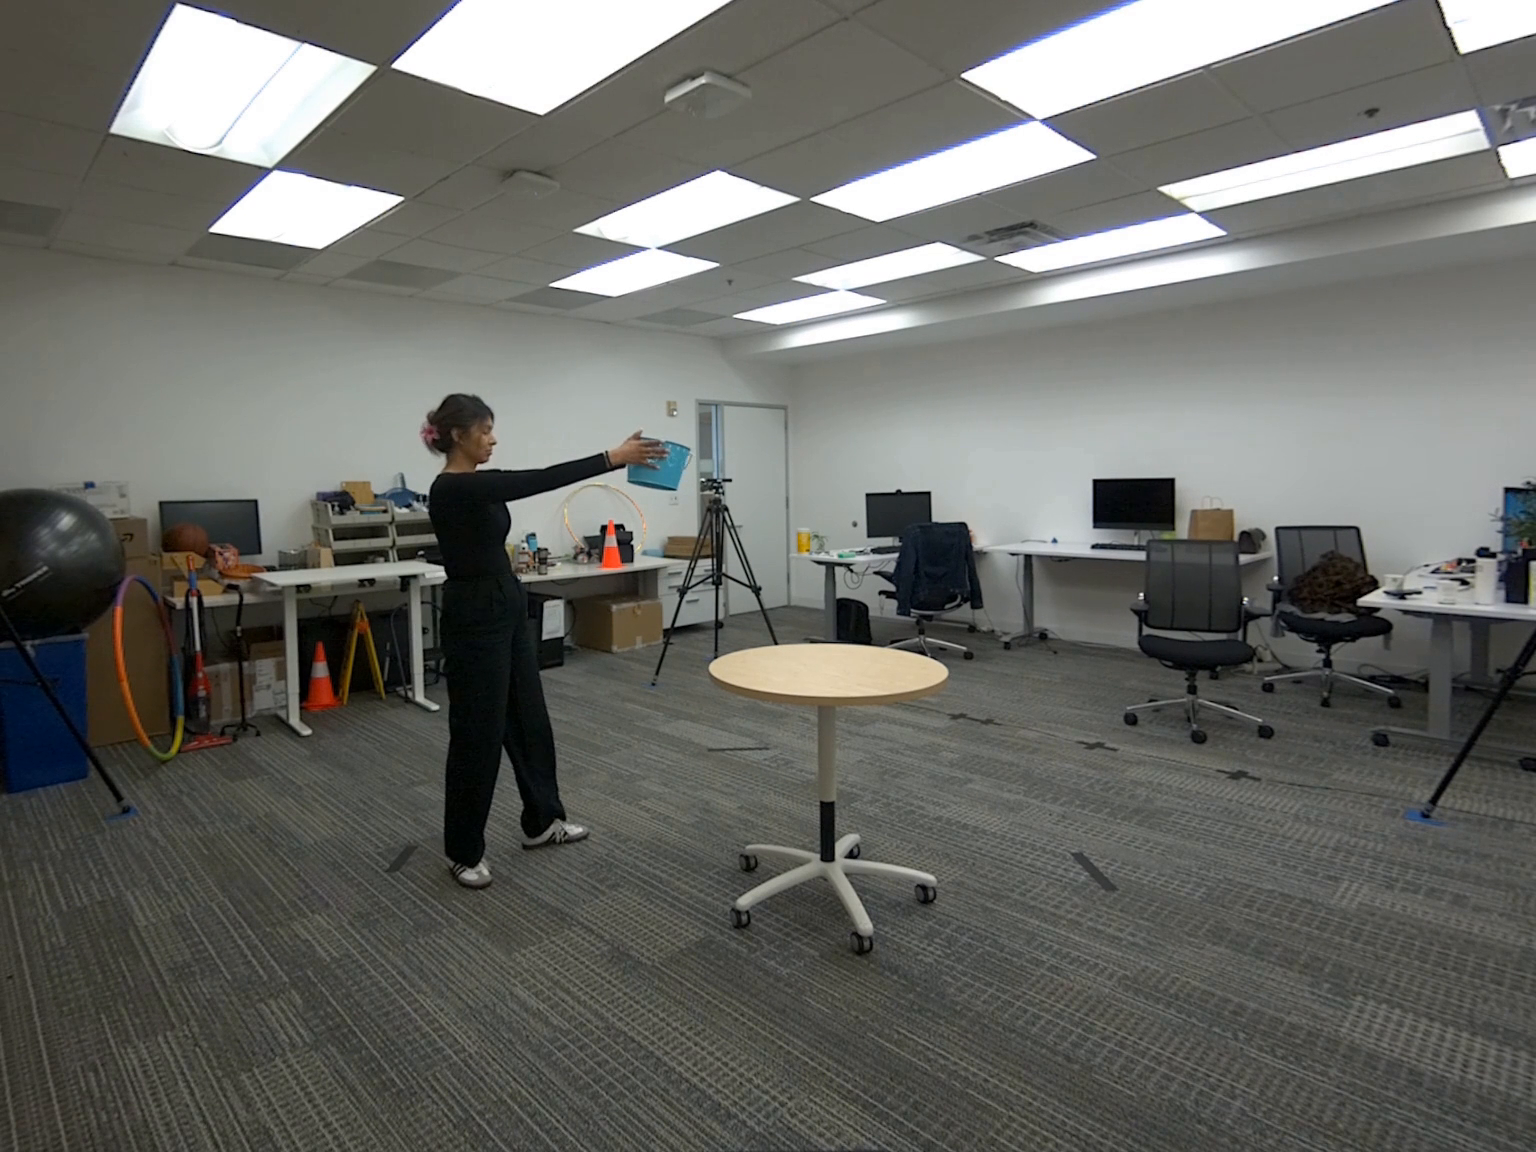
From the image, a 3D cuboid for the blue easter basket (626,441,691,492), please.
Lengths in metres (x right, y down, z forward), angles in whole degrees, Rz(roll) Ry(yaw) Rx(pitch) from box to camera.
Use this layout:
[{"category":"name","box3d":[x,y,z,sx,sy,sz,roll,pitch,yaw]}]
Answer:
[{"category":"blue easter basket","box3d":[-0.407,-0.397,3.049,0.243,0.156,0.243,9,-1,-1]}]
